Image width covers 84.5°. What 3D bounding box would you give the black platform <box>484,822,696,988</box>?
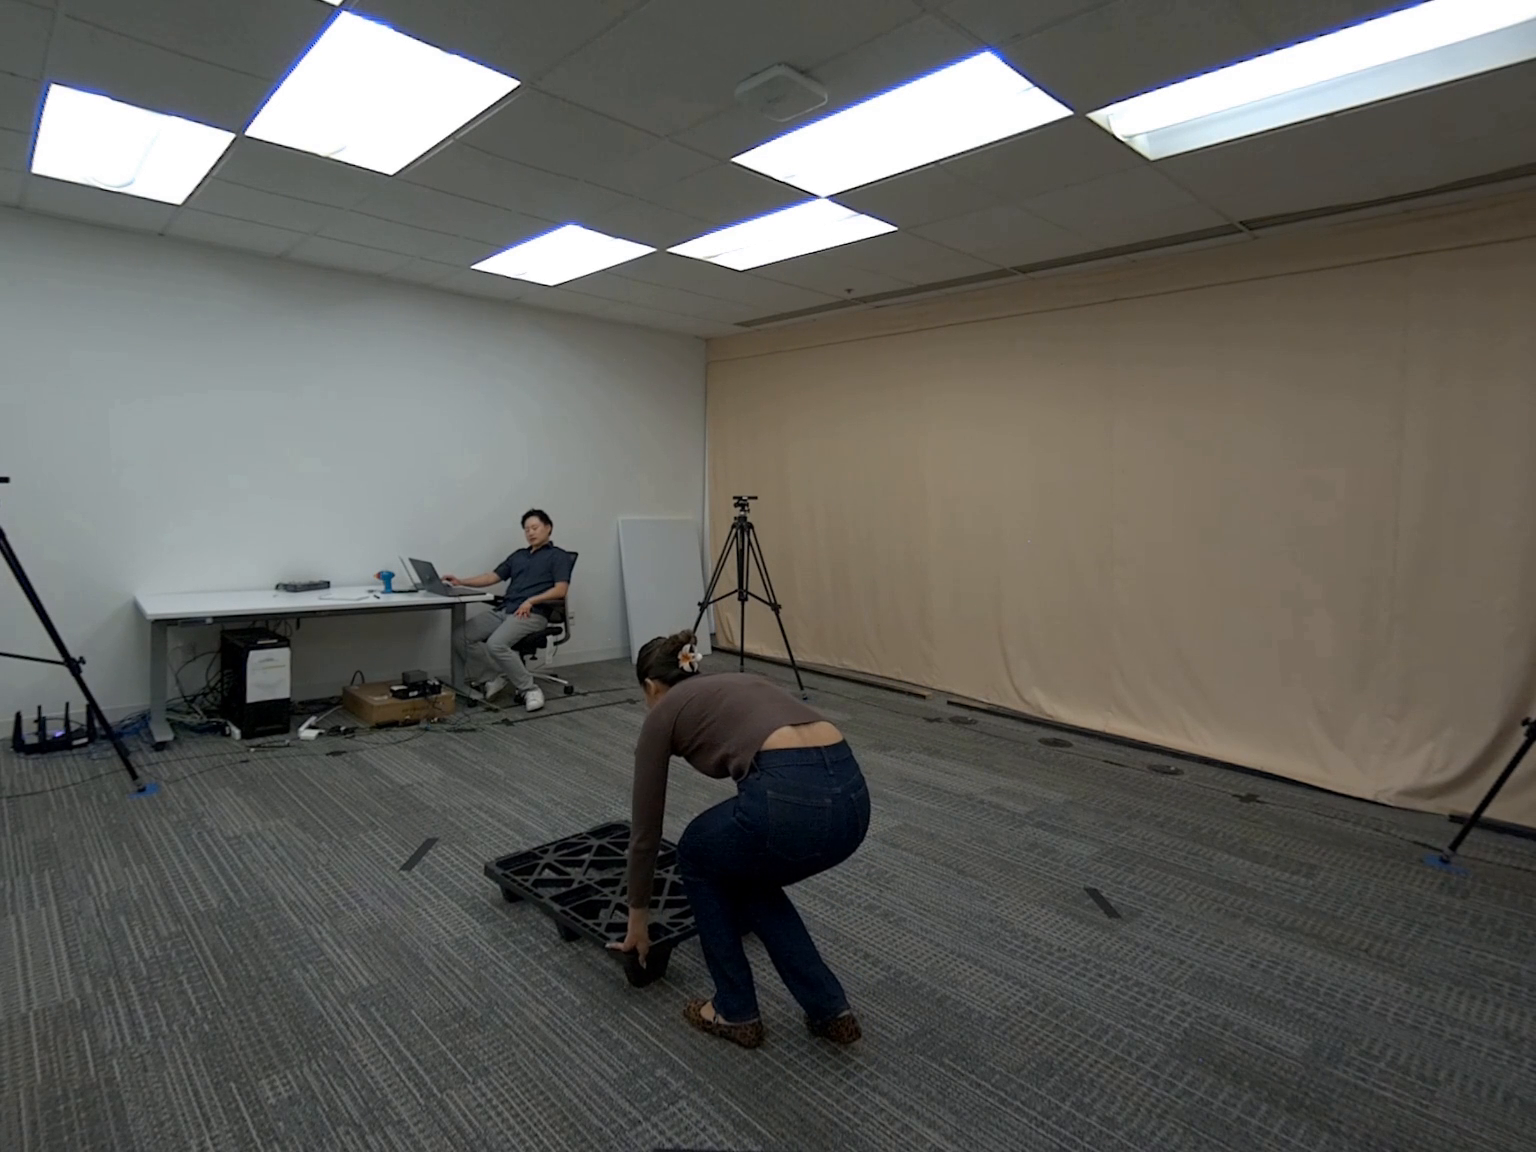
[{"bbox_3d":[-0.484,1.057,2.789,0.826,0.143,0.592,6,7,43],"label":"black platform"}]
